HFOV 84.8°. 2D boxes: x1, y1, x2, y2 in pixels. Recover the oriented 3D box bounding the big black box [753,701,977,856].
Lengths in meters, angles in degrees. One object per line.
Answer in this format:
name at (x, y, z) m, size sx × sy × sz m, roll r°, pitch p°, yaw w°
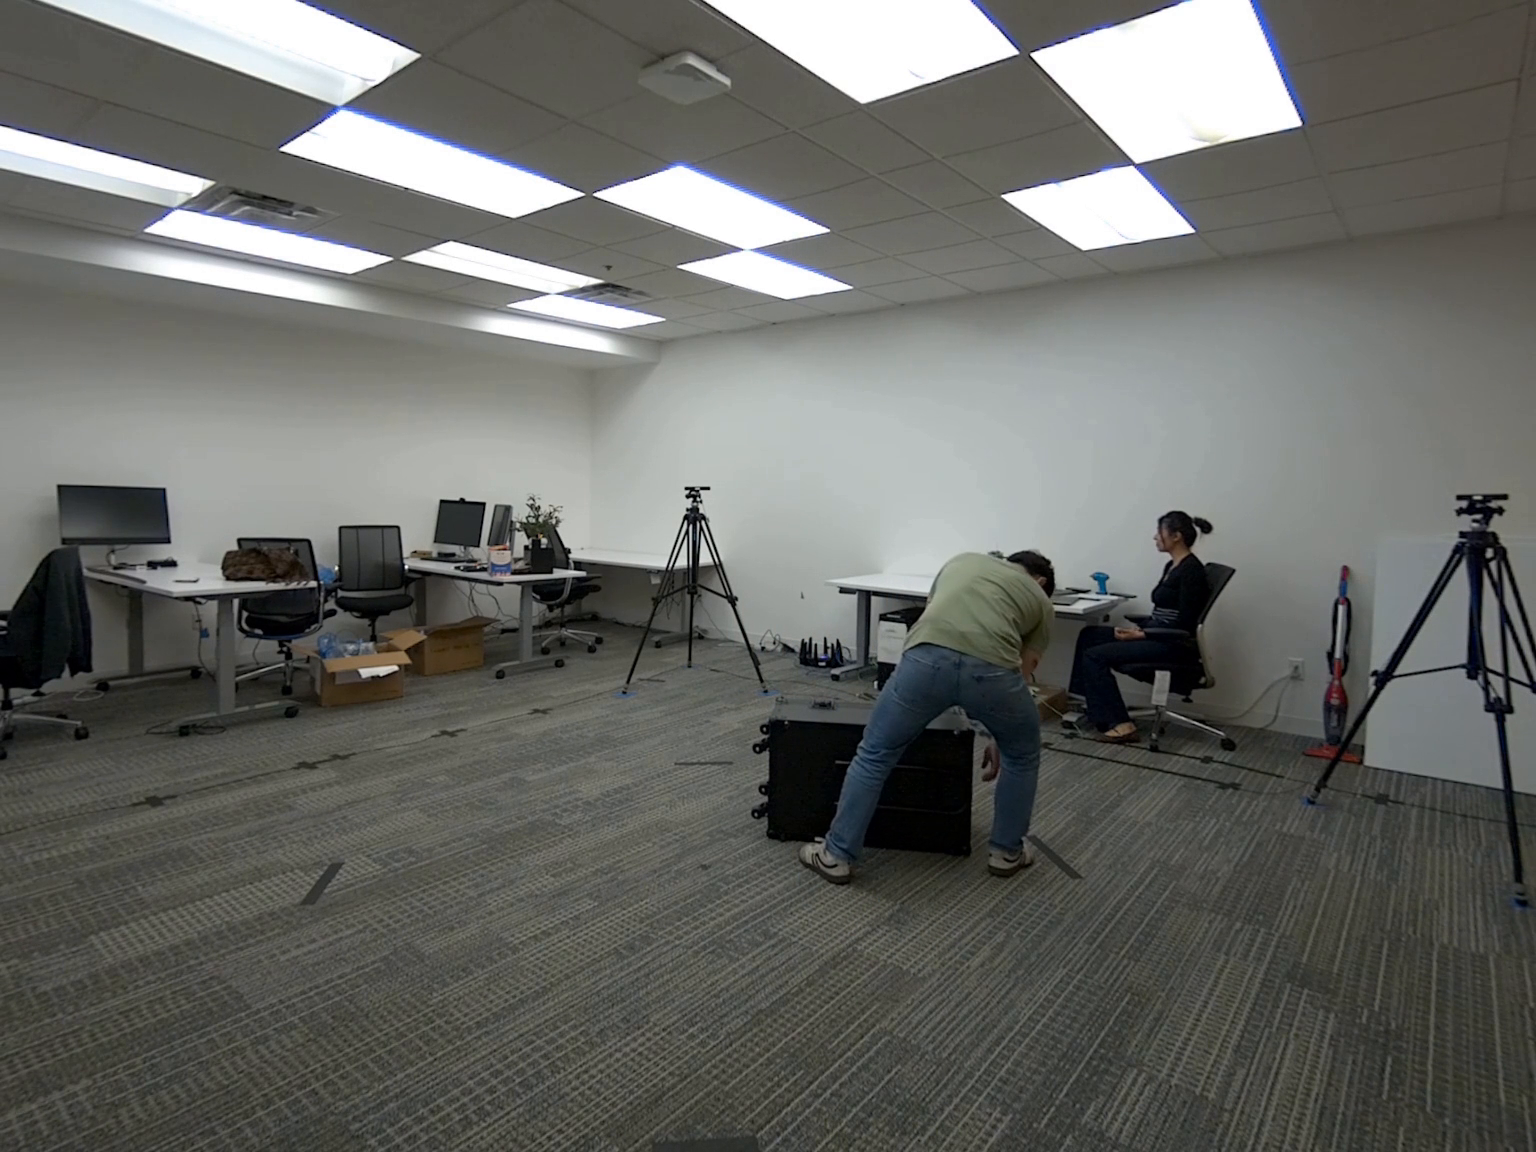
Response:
big black box at (0.427, 0.789, 3.459) m, size 0.869 × 0.519 × 0.394 m, roll 2°, pitch 4°, yaw 8°
